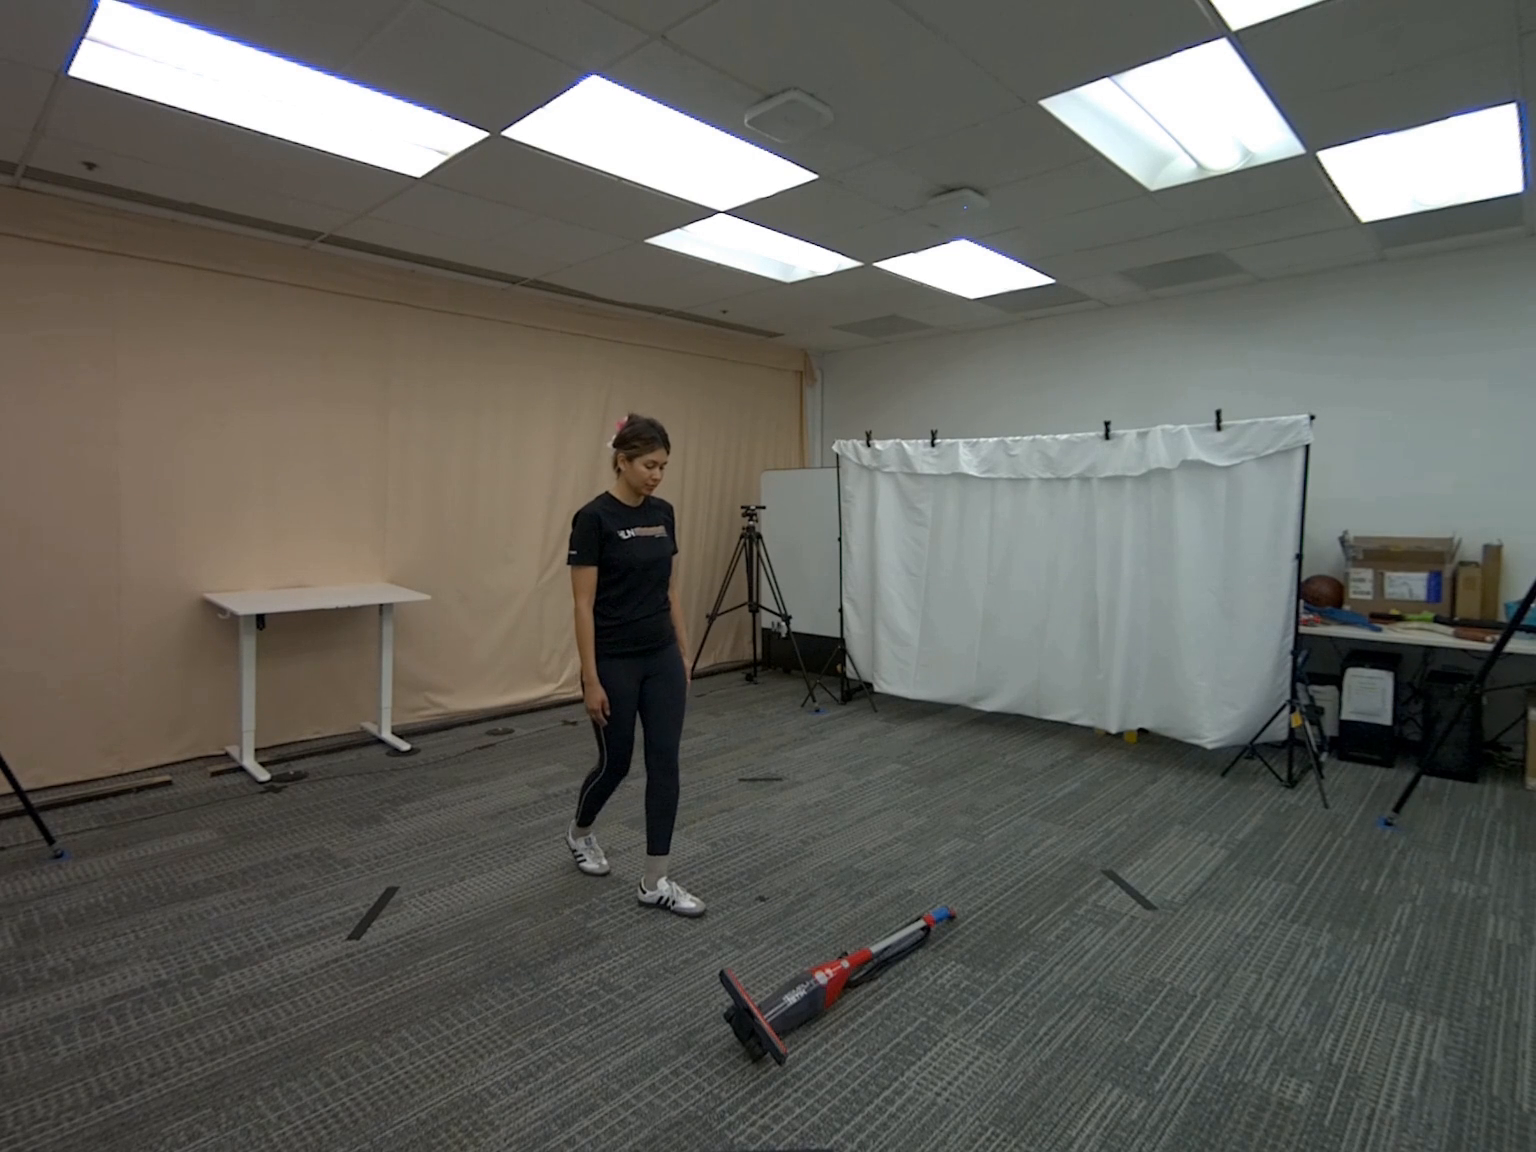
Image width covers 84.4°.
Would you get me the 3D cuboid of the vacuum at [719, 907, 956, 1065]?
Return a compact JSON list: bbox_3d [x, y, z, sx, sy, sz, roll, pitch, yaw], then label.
[{"bbox_3d":[0.287,1.140,2.471,1.015,0.144,0.261,3,30,-47],"label":"vacuum"}]
